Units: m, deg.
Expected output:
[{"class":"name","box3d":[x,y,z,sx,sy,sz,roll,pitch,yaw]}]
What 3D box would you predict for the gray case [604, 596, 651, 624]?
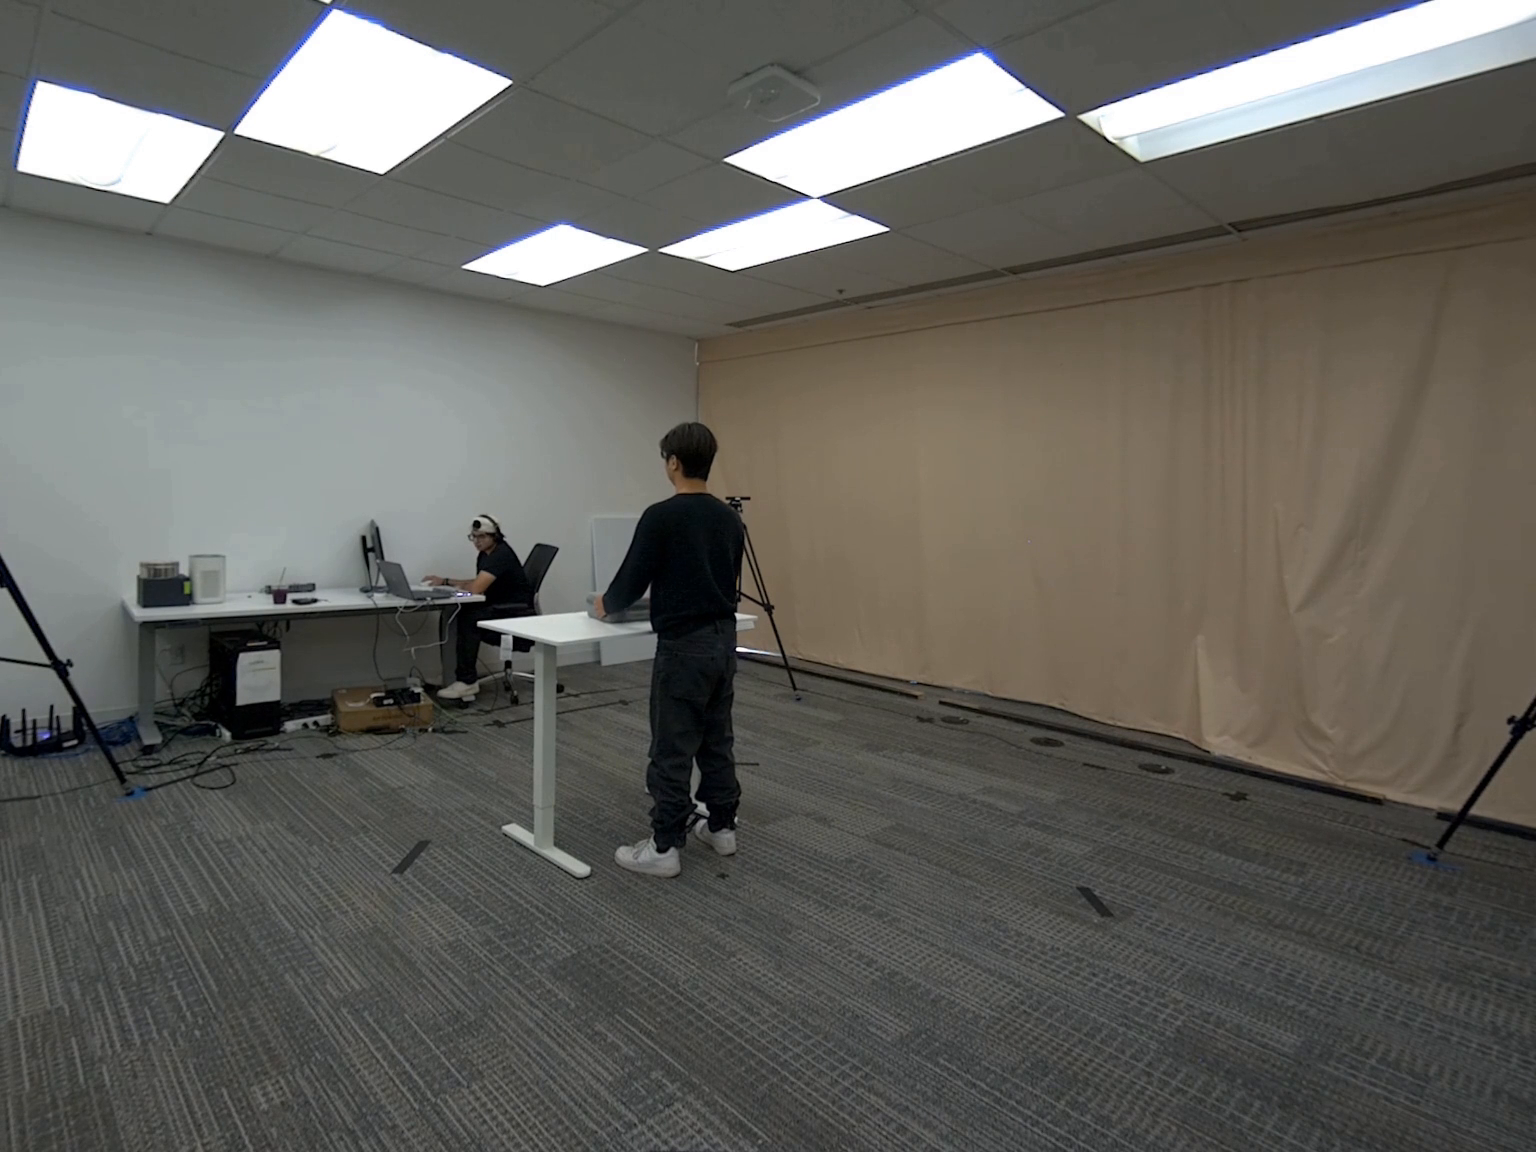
[{"class":"gray case","box3d":[-0.602,0.127,3.517,0.251,0.104,0.267,-1,5,-35]}]
